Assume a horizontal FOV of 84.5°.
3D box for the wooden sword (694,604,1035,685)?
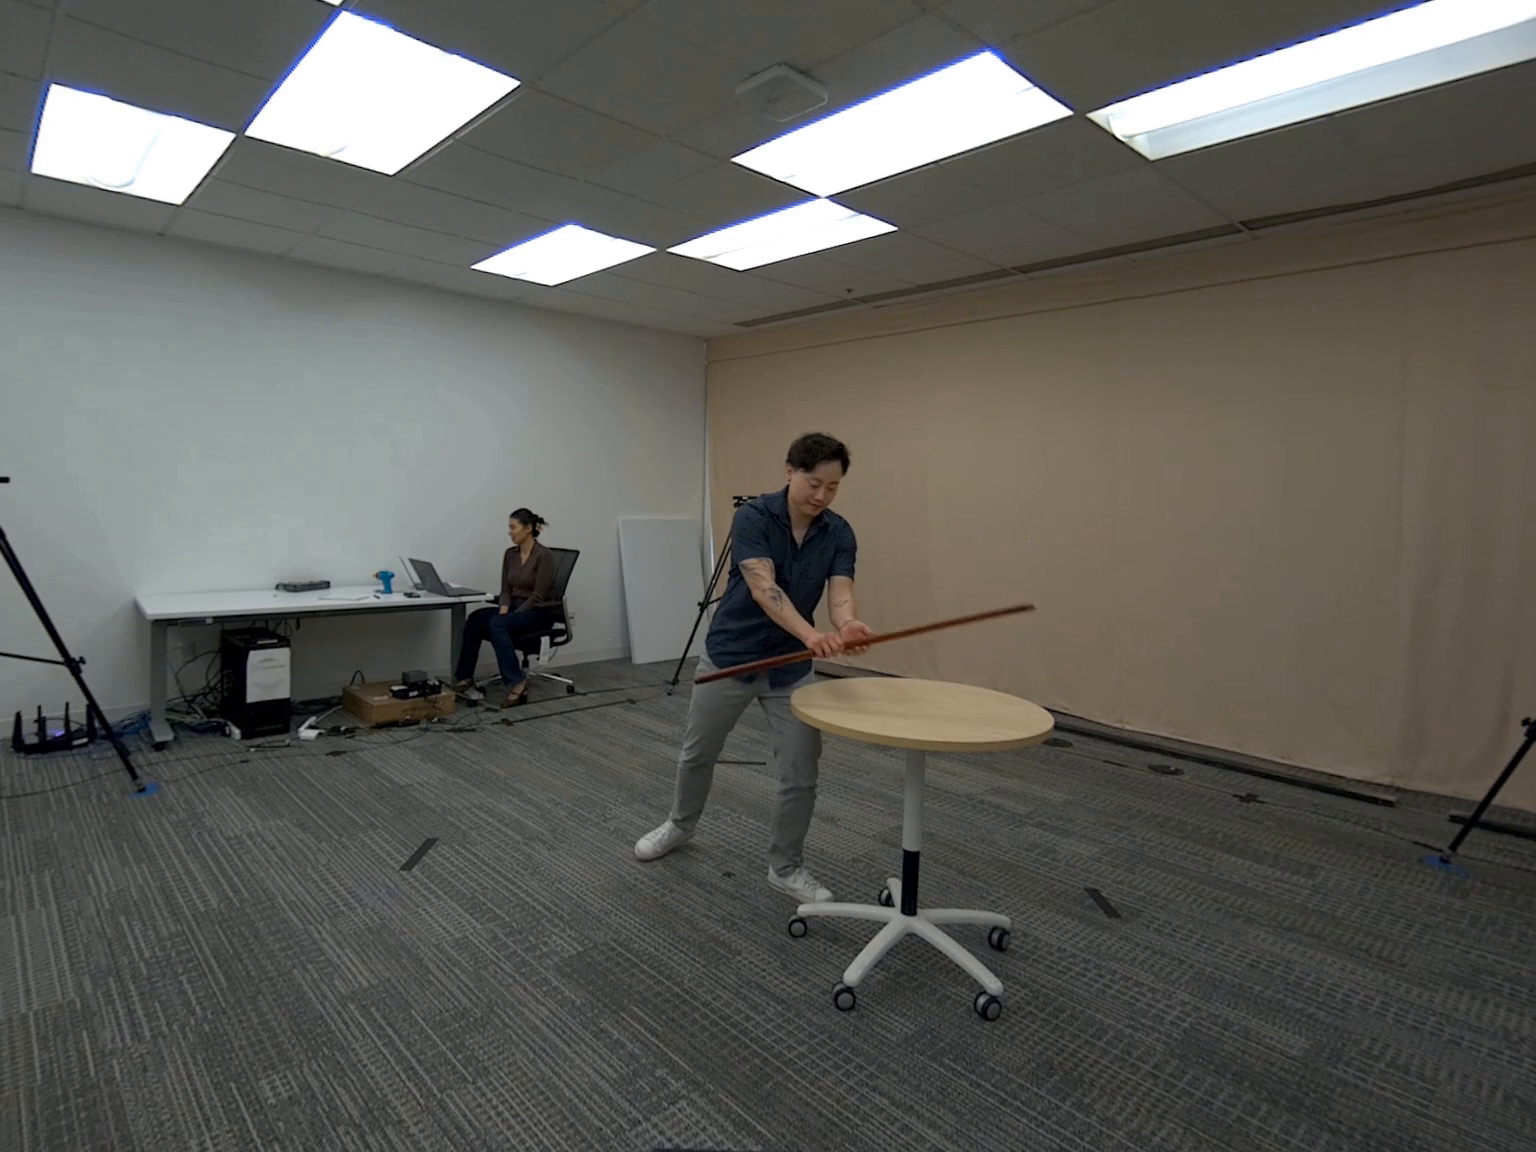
[{"bbox_3d":[0.245,0.223,2.478,1.029,0.023,0.052,-10,46,6],"label":"wooden sword"}]
